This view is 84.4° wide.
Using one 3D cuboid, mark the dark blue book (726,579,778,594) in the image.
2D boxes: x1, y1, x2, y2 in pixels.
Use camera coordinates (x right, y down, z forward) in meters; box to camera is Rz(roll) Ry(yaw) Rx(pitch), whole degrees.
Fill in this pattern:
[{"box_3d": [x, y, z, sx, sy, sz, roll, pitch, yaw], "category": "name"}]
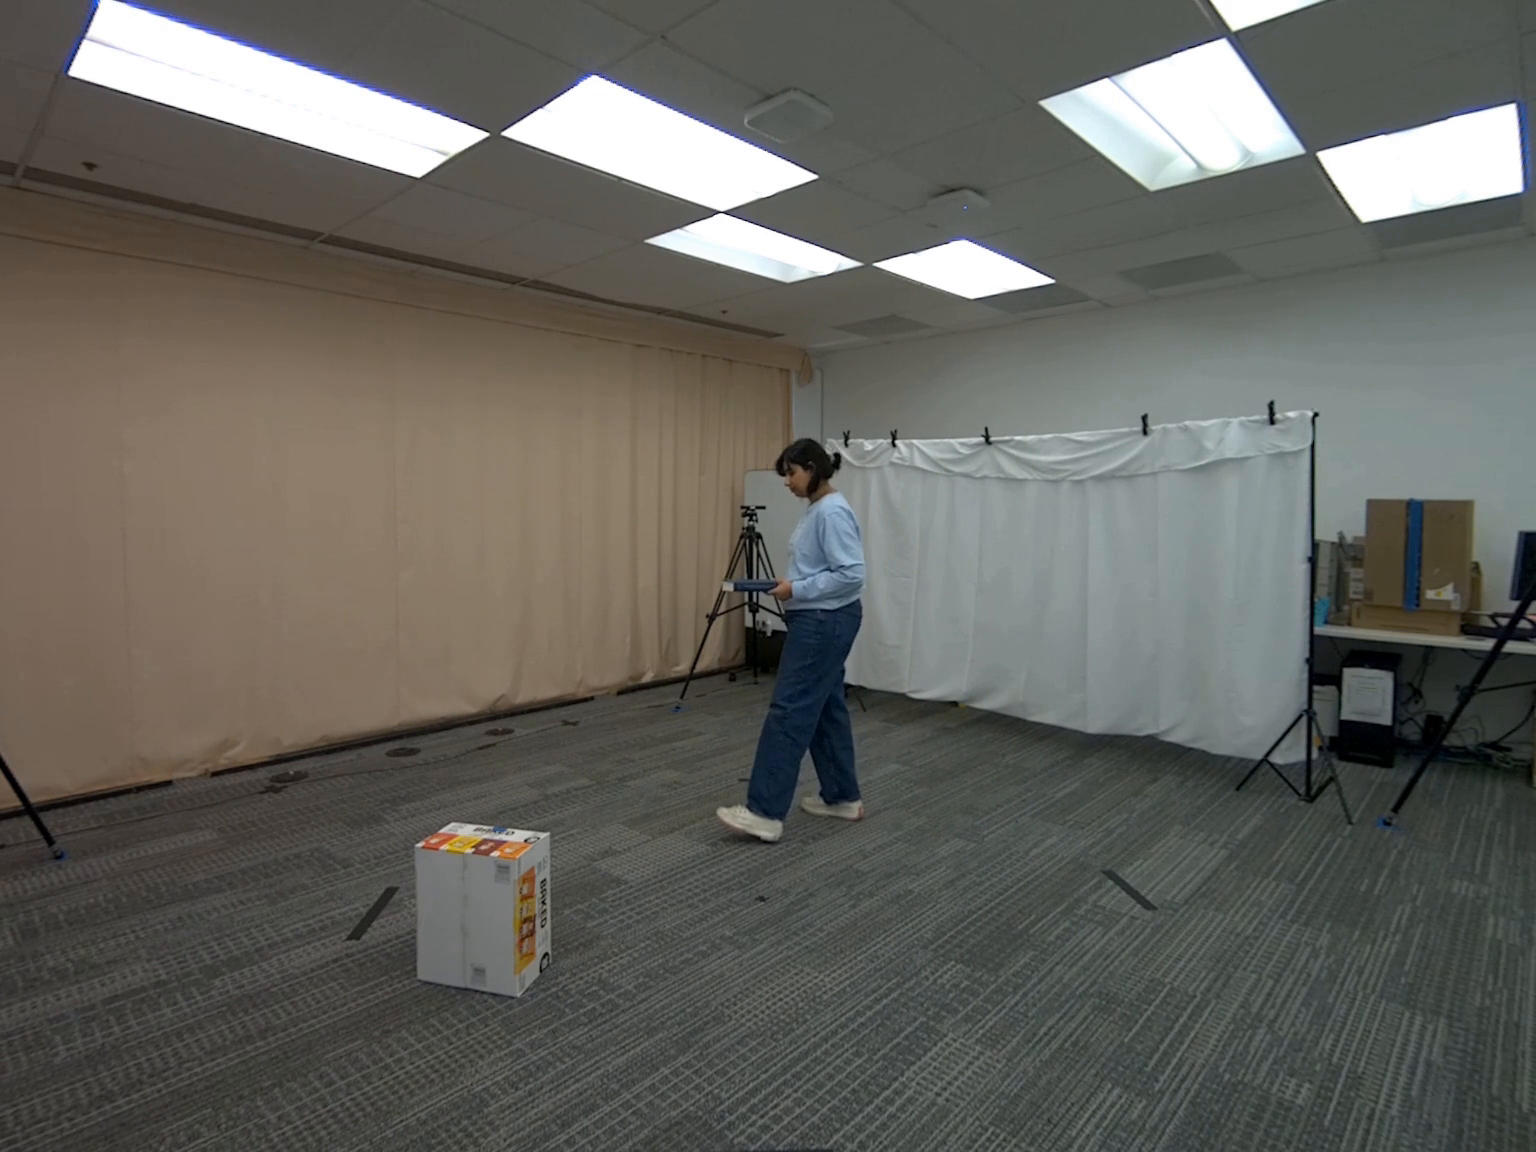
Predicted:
[{"box_3d": [-0.047, 0.043, 3.610, 0.242, 0.045, 0.165, 1, 1, -10], "category": "dark blue book"}]
